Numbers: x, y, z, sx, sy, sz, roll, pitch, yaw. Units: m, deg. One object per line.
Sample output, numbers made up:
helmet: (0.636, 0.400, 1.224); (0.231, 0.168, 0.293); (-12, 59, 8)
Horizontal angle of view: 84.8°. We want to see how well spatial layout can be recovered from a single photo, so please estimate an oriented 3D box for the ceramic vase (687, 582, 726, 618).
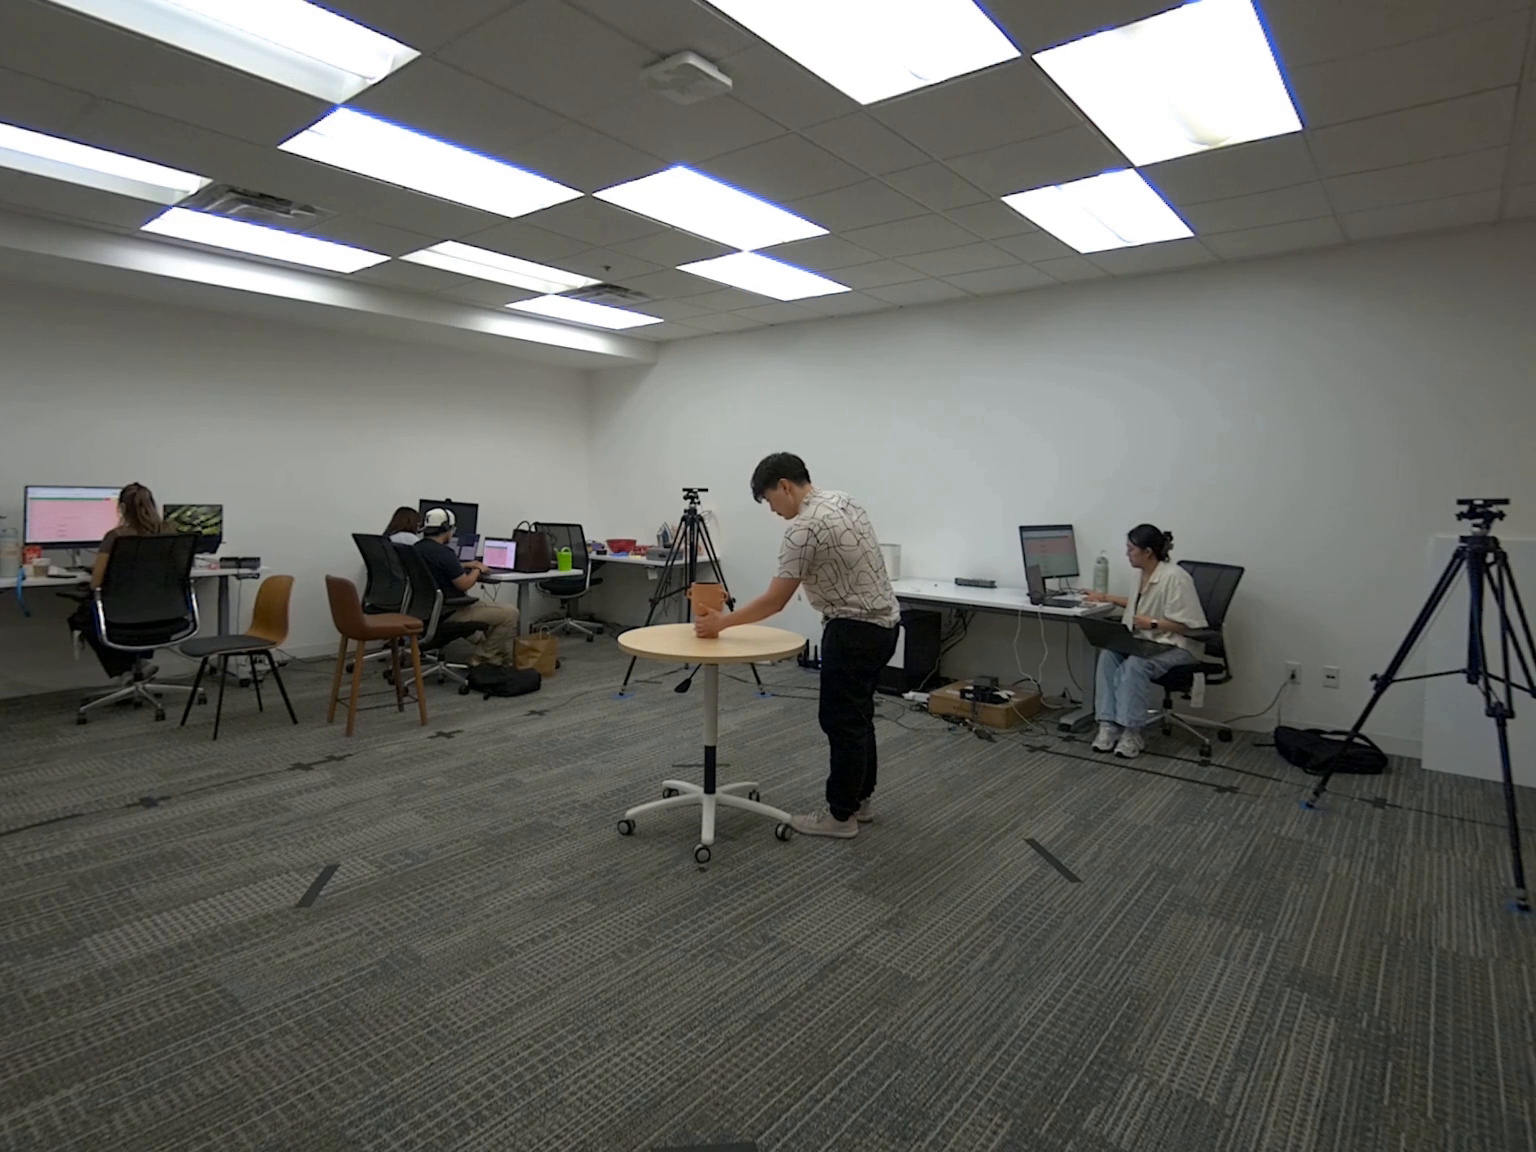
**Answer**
ceramic vase: (-0.265, 0.134, 3.525); (0.131, 0.219, 0.163); (-1, 4, -28)
